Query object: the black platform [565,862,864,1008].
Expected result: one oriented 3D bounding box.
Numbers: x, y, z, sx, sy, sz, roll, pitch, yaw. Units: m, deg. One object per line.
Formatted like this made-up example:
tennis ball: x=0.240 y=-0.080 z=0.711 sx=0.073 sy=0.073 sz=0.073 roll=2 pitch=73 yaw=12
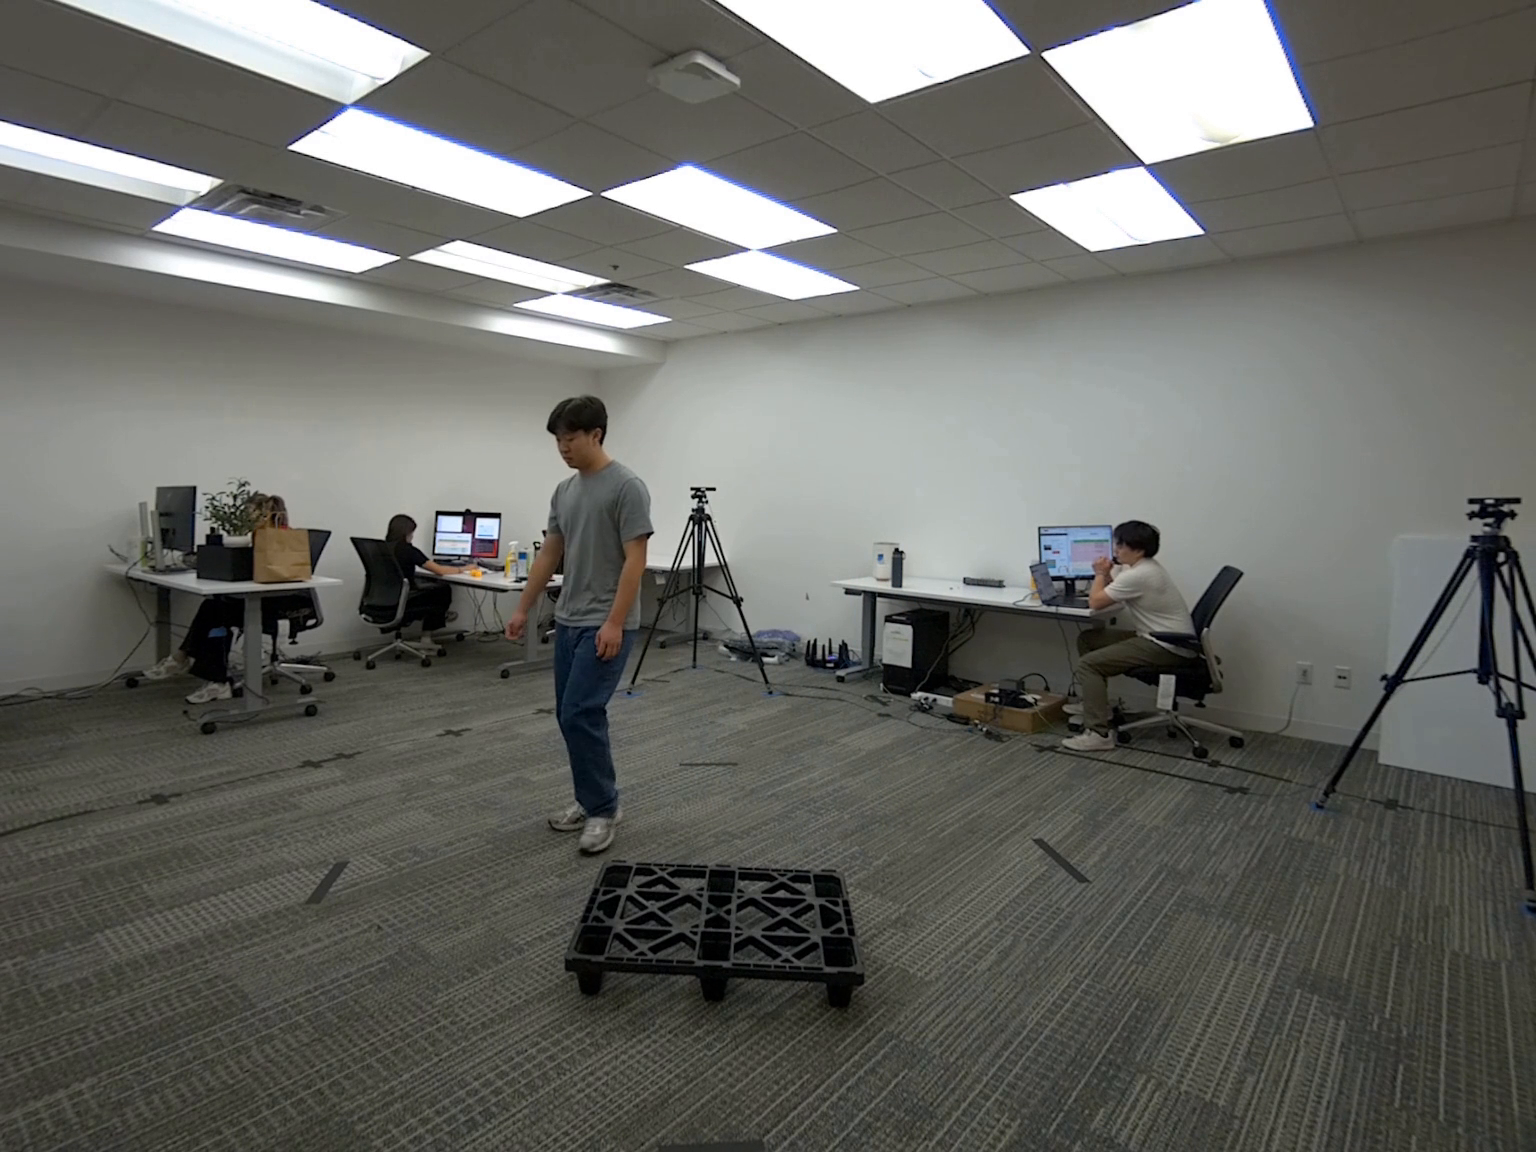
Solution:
black platform: x=-0.159 y=1.053 z=2.538 sx=0.808 sy=0.143 sz=0.606 roll=2 pitch=5 yaw=2
